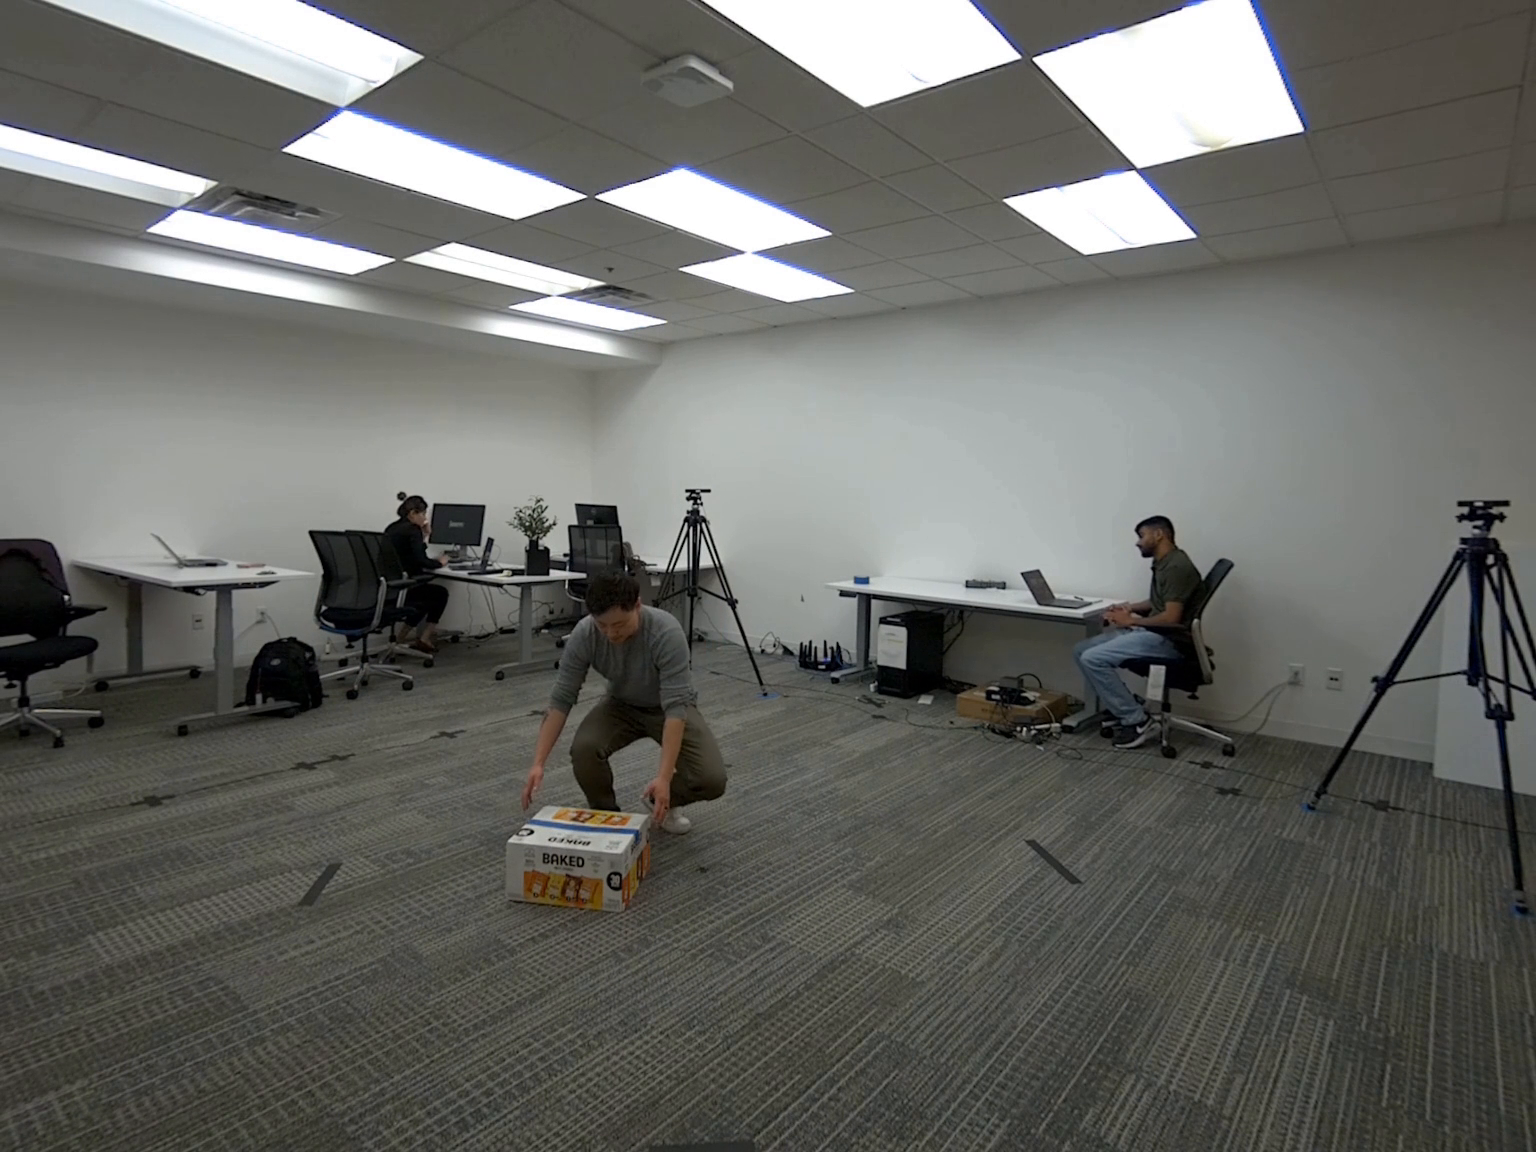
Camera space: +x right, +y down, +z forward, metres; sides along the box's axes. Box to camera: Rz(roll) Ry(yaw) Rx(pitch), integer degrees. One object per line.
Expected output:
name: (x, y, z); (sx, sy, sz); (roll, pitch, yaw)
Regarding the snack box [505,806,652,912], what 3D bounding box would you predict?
snack box: (-0.666, 0.982, 2.963); (0.410, 0.205, 0.337); (2, 4, 9)
